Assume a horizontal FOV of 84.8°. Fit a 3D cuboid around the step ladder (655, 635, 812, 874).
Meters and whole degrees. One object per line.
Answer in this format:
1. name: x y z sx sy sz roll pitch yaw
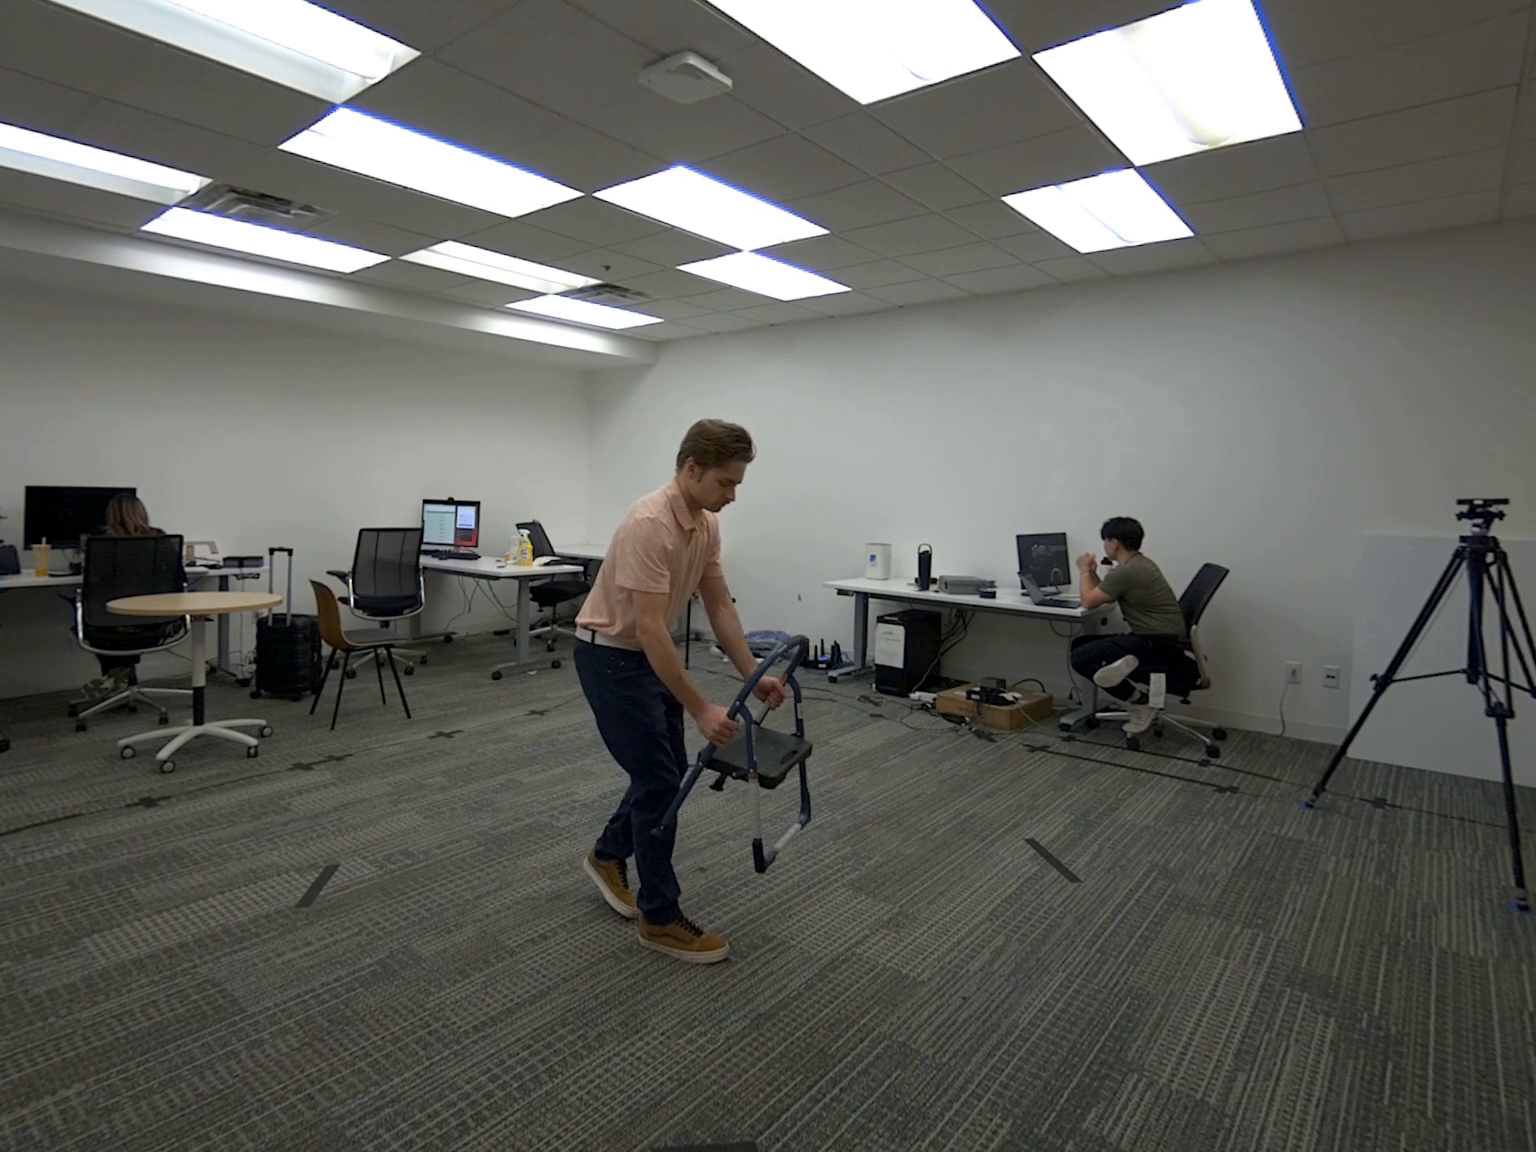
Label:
1. step ladder: -0.059 0.465 2.509 0.358 0.602 0.422 12 8 21
